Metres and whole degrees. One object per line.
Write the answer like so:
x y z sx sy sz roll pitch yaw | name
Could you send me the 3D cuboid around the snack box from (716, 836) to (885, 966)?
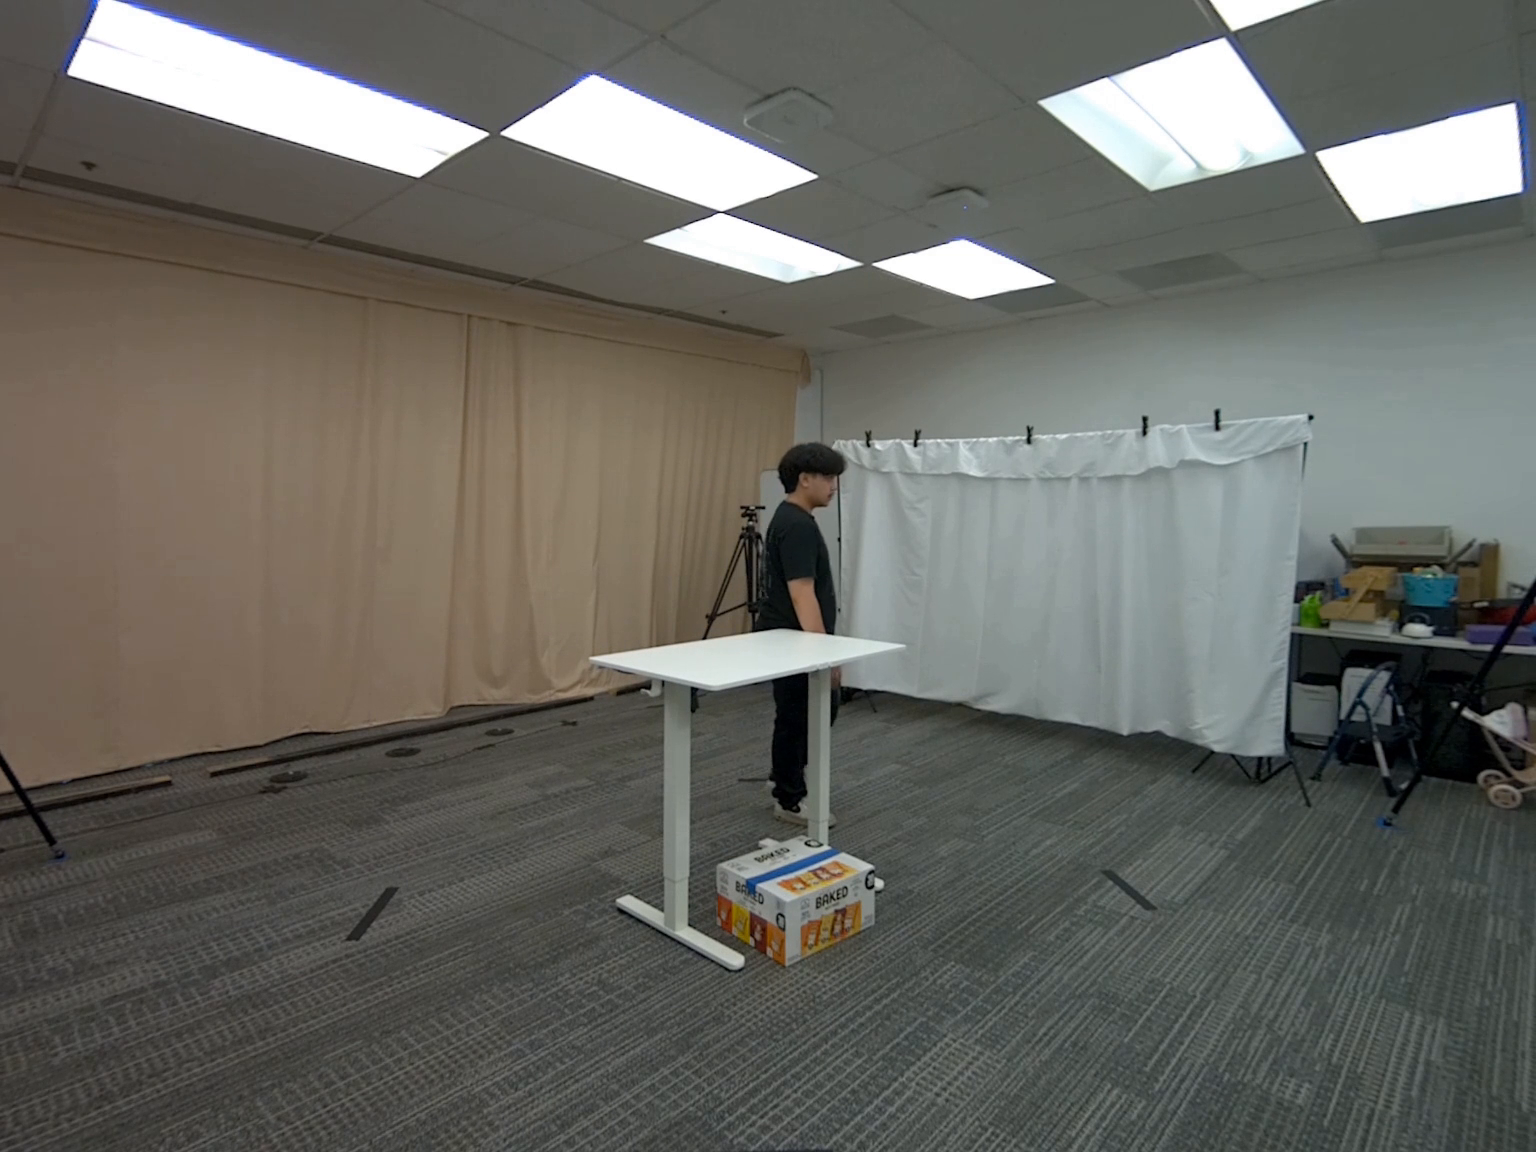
0.090 1.061 2.785 0.393 0.205 0.351 -4 6 -40 | snack box
